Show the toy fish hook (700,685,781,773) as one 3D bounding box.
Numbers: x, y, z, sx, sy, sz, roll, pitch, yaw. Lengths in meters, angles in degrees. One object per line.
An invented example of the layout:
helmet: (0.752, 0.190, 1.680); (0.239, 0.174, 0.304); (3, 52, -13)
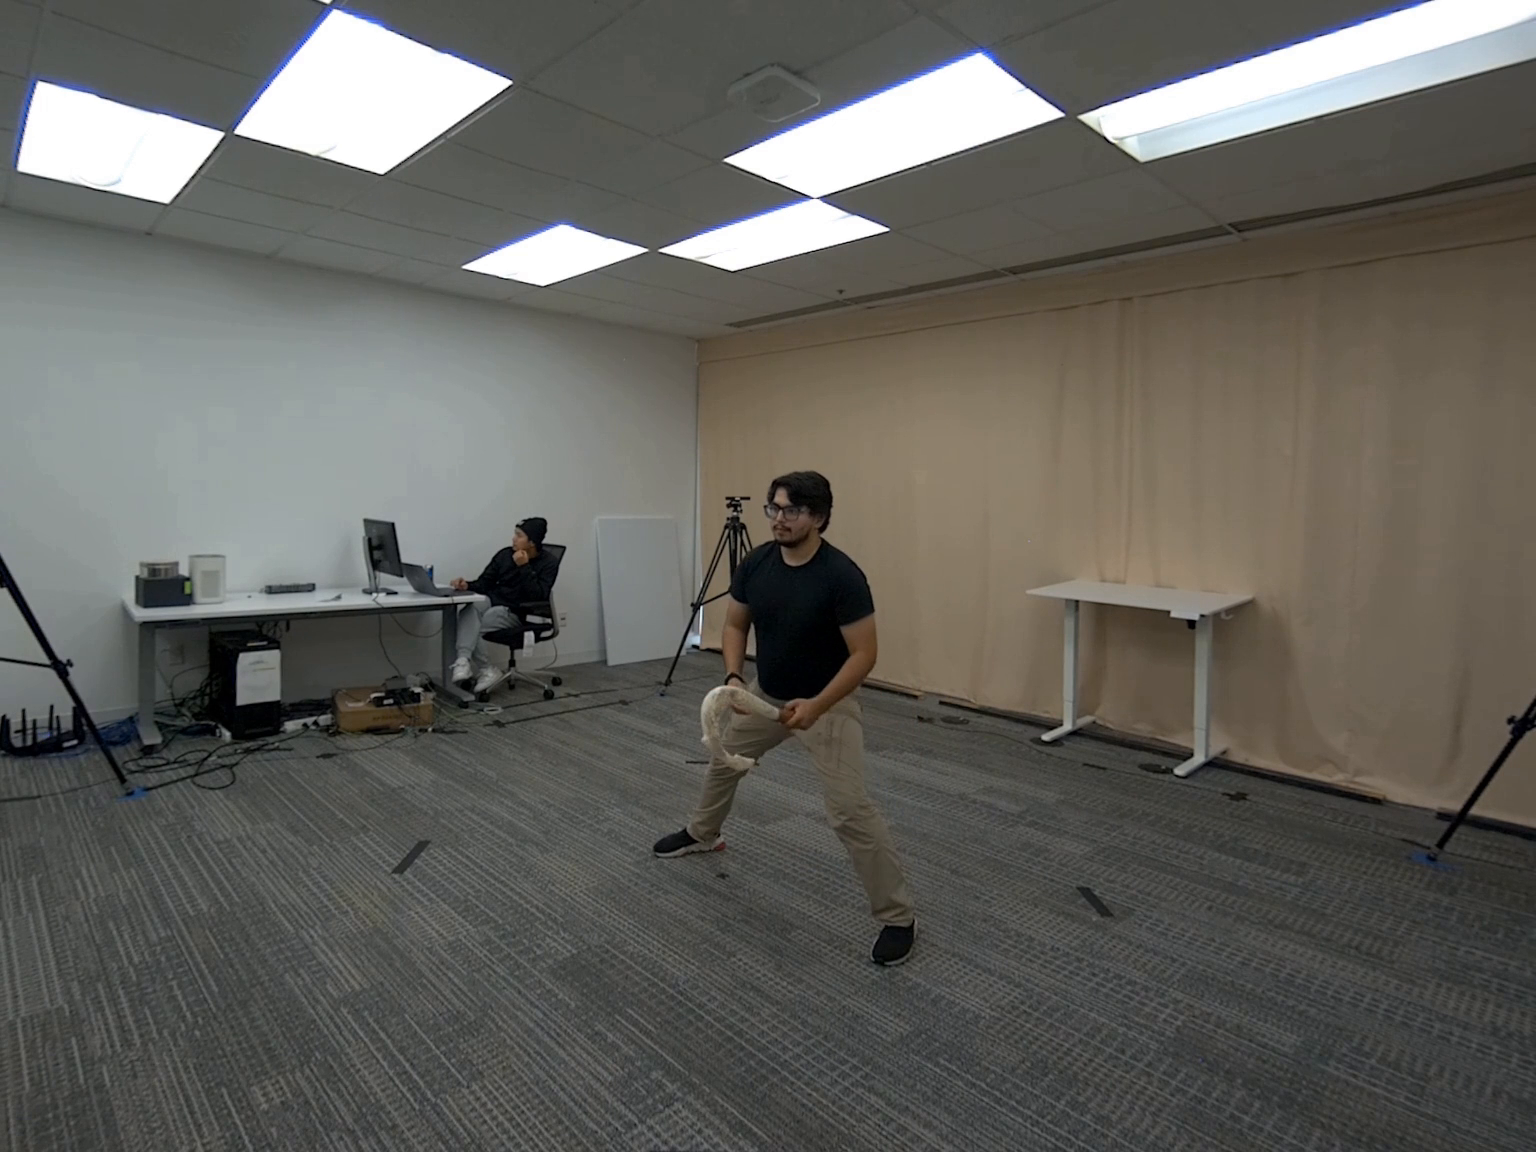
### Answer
toy fish hook: (-0.022, 0.453, 2.436); (0.049, 0.227, 0.492); (-13, -19, 40)
